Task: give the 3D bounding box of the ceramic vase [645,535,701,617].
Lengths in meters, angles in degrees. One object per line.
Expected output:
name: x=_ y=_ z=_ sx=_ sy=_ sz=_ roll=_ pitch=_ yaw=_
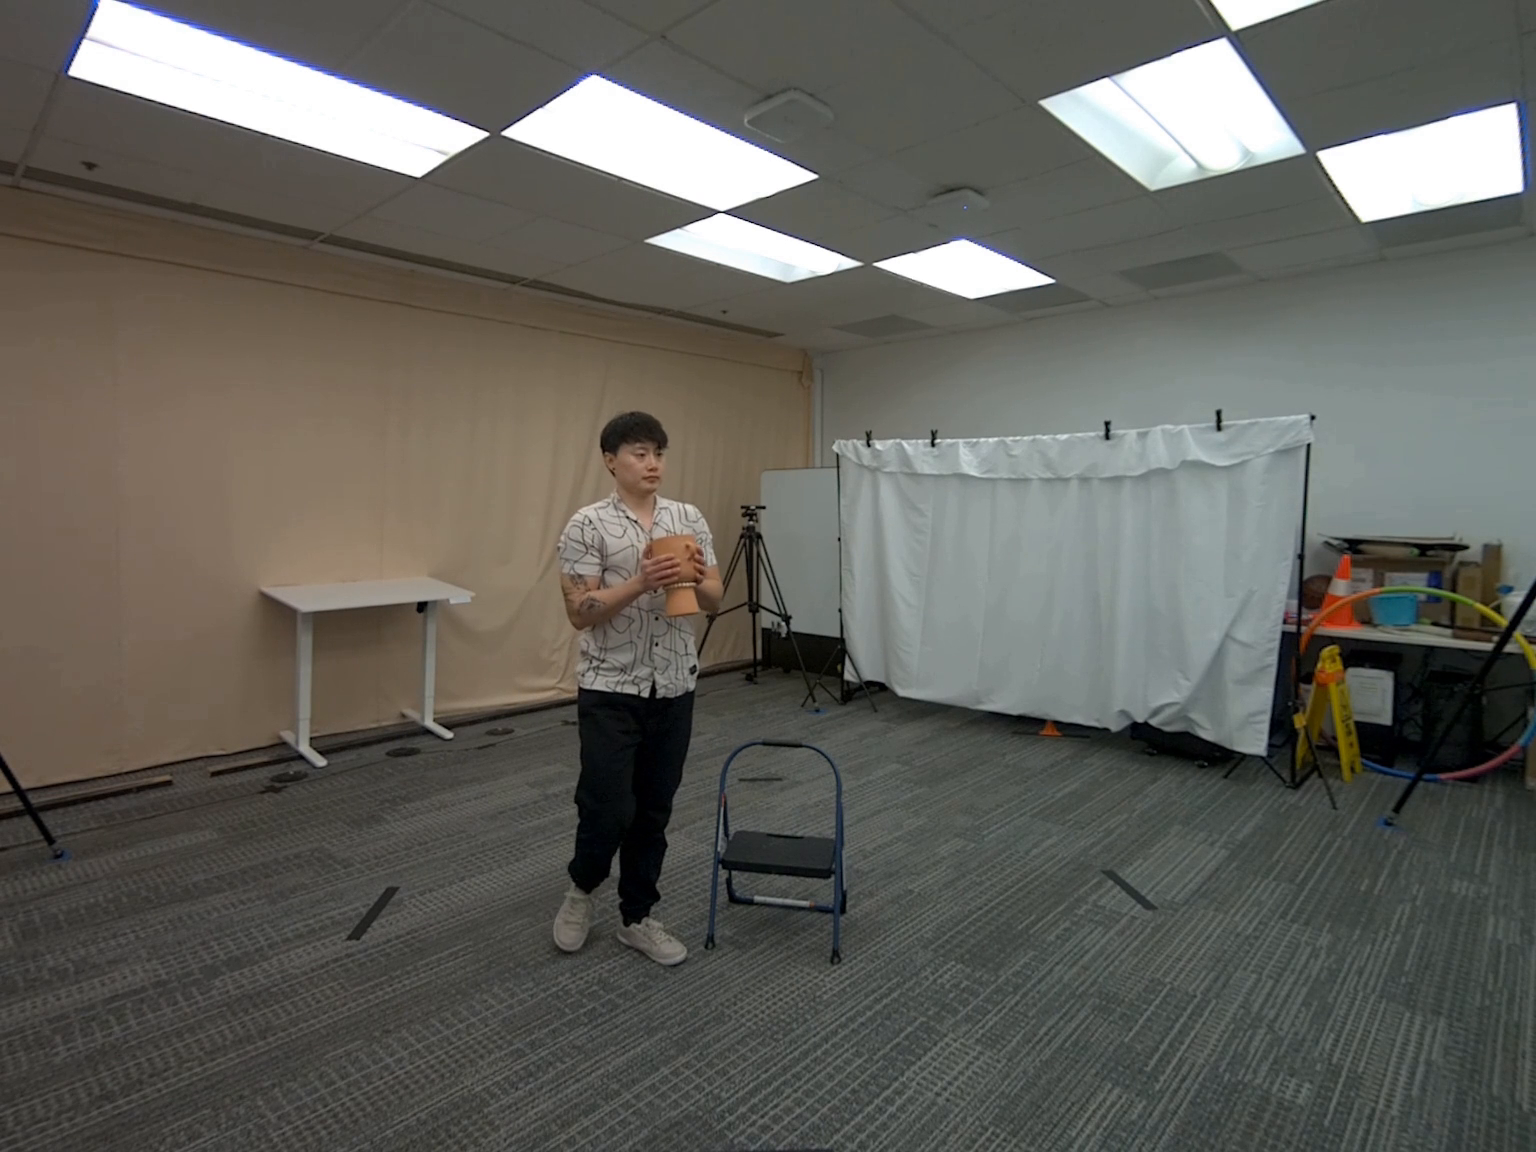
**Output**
ceramic vase: x=-0.265 y=0.002 z=2.369 sx=0.135 sy=0.220 sz=0.157 roll=-7 pitch=-4 yaw=3
